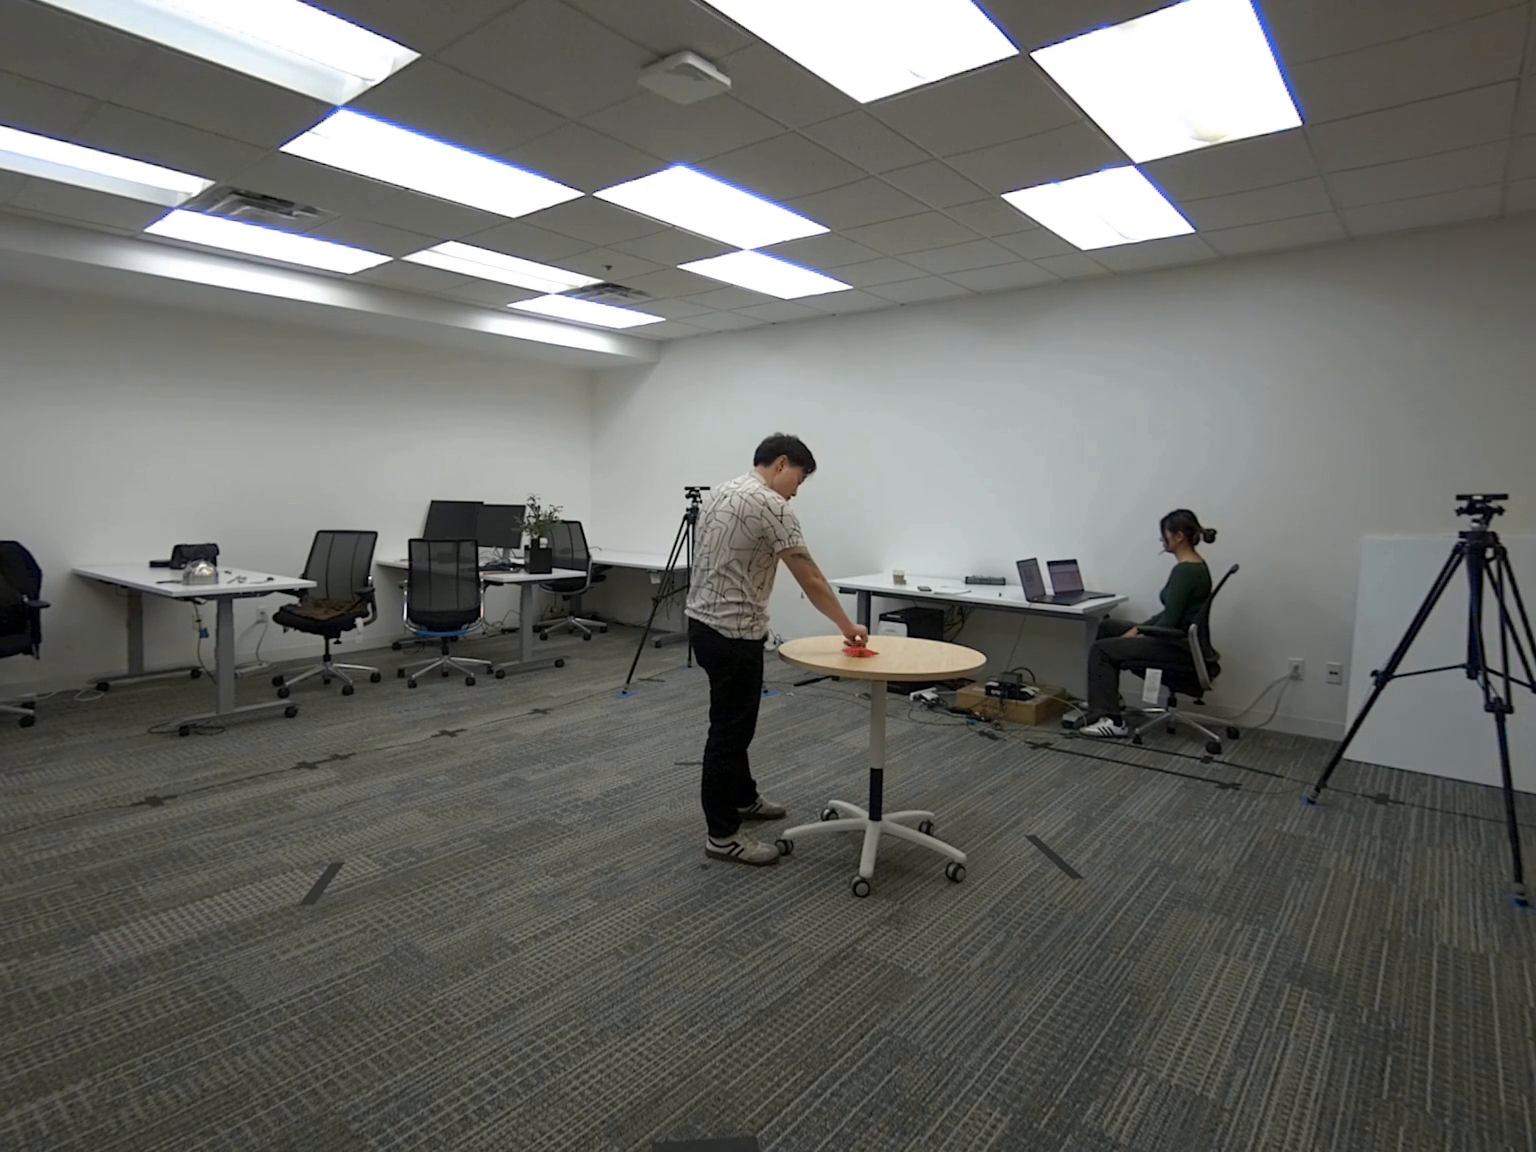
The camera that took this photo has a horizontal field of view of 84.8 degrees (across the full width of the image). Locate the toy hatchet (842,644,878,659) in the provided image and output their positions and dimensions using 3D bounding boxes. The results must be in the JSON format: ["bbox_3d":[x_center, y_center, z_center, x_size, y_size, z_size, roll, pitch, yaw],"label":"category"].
[{"bbox_3d":[0.308,0.270,3.223,0.129,0.029,0.275,2,5,-17],"label":"toy hatchet"}]
